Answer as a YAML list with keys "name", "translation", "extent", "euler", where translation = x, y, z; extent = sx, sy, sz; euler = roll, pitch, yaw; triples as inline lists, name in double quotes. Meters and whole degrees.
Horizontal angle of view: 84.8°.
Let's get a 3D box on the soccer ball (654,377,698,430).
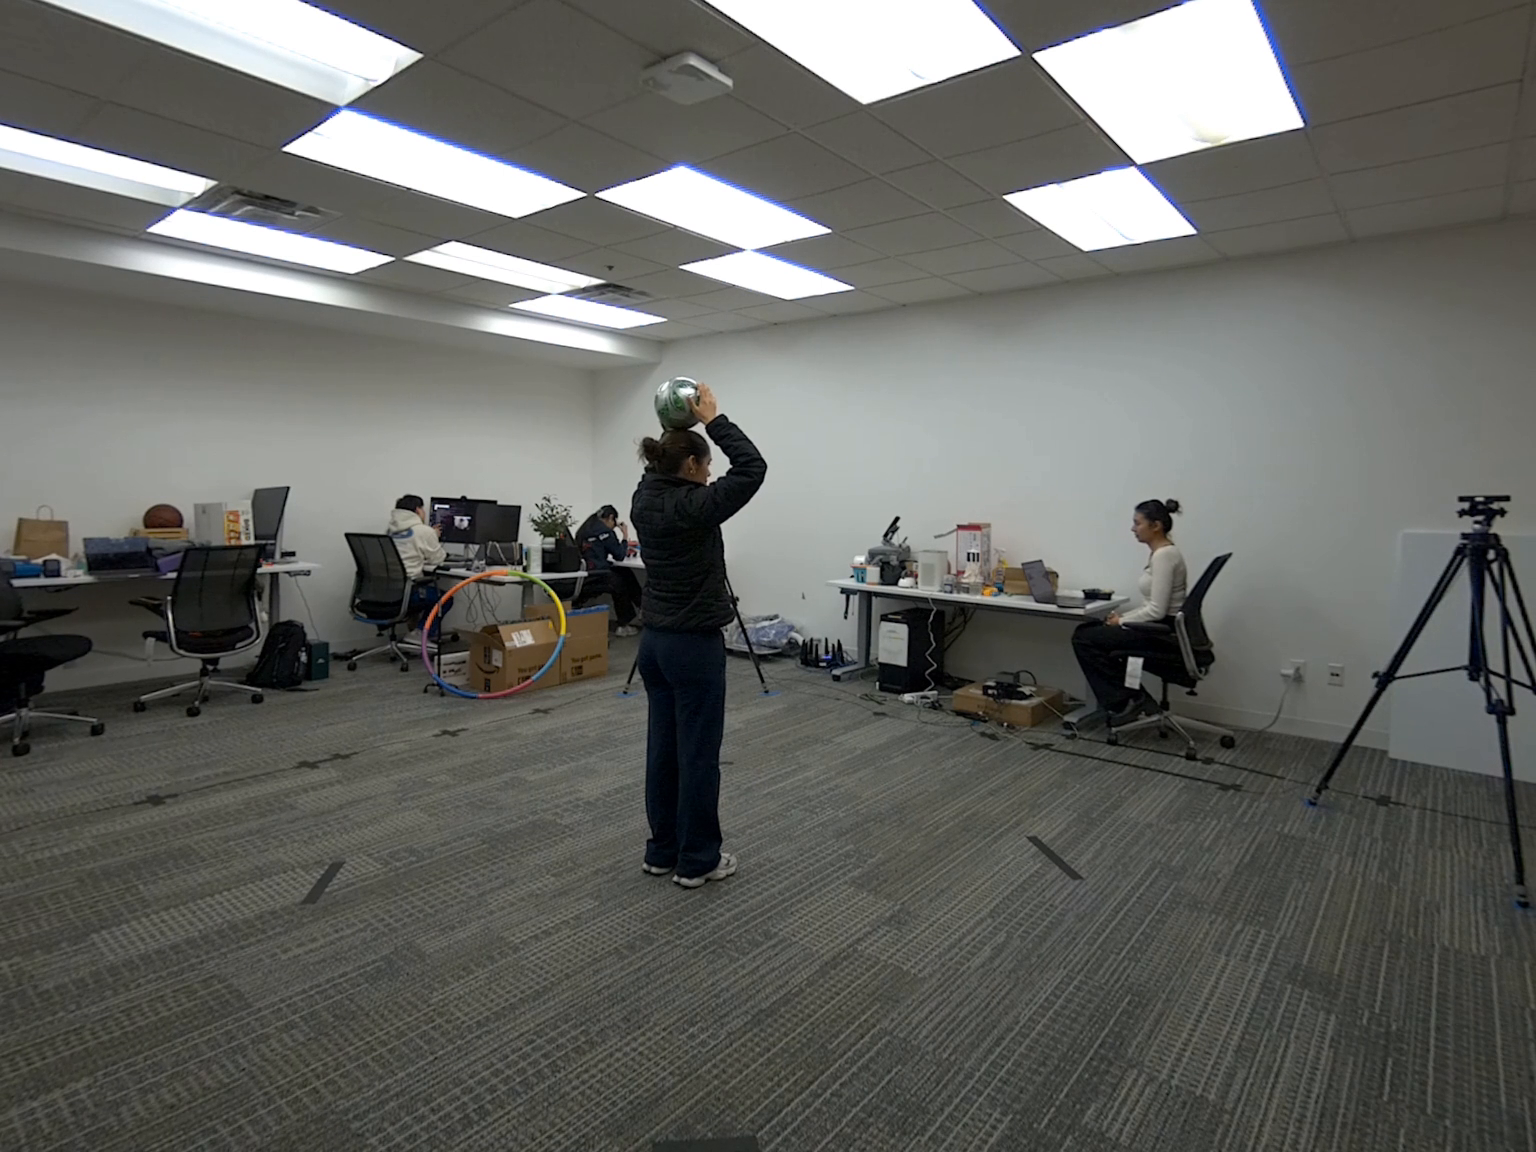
- name: "soccer ball"
  translation: [-0.322, -0.618, 3.043]
  extent: [0.187, 0.187, 0.188]
  euler: [1, 4, -2]
